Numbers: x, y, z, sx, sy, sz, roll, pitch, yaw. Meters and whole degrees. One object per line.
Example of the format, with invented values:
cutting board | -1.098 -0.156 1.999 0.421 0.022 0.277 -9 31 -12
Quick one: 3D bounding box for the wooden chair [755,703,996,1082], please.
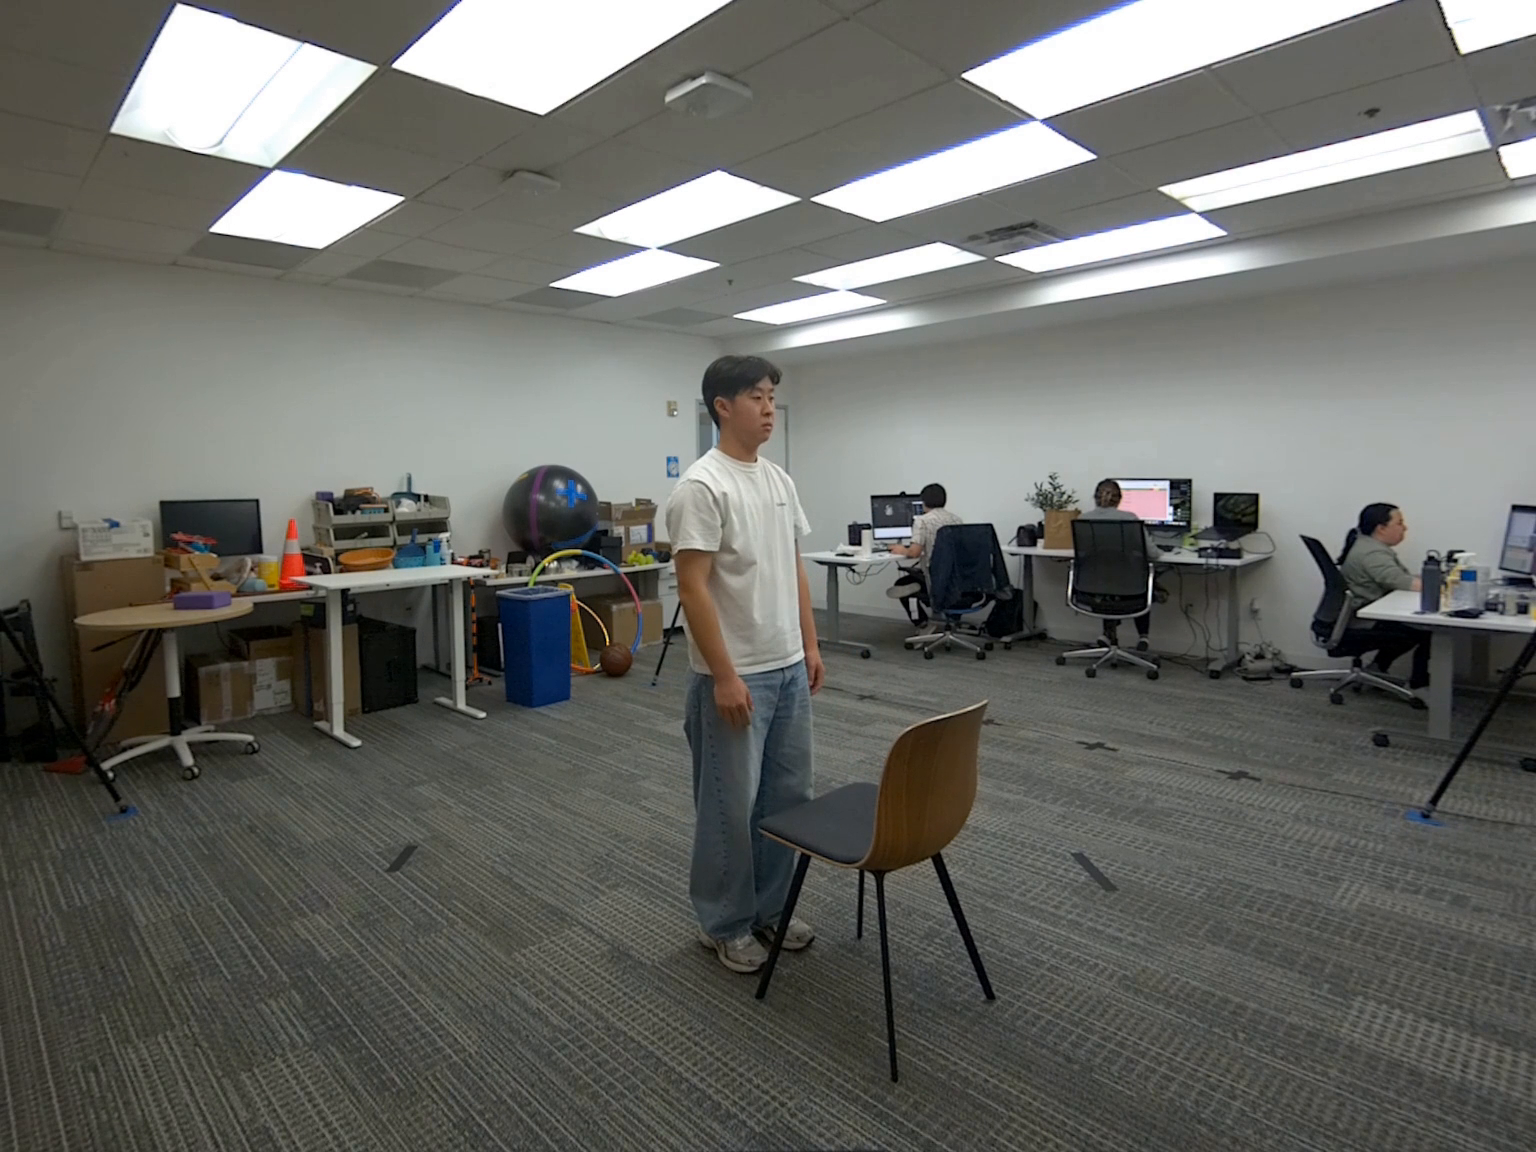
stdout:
wooden chair | 0.281 0.711 2.253 0.465 0.871 0.540 -6 11 -43
